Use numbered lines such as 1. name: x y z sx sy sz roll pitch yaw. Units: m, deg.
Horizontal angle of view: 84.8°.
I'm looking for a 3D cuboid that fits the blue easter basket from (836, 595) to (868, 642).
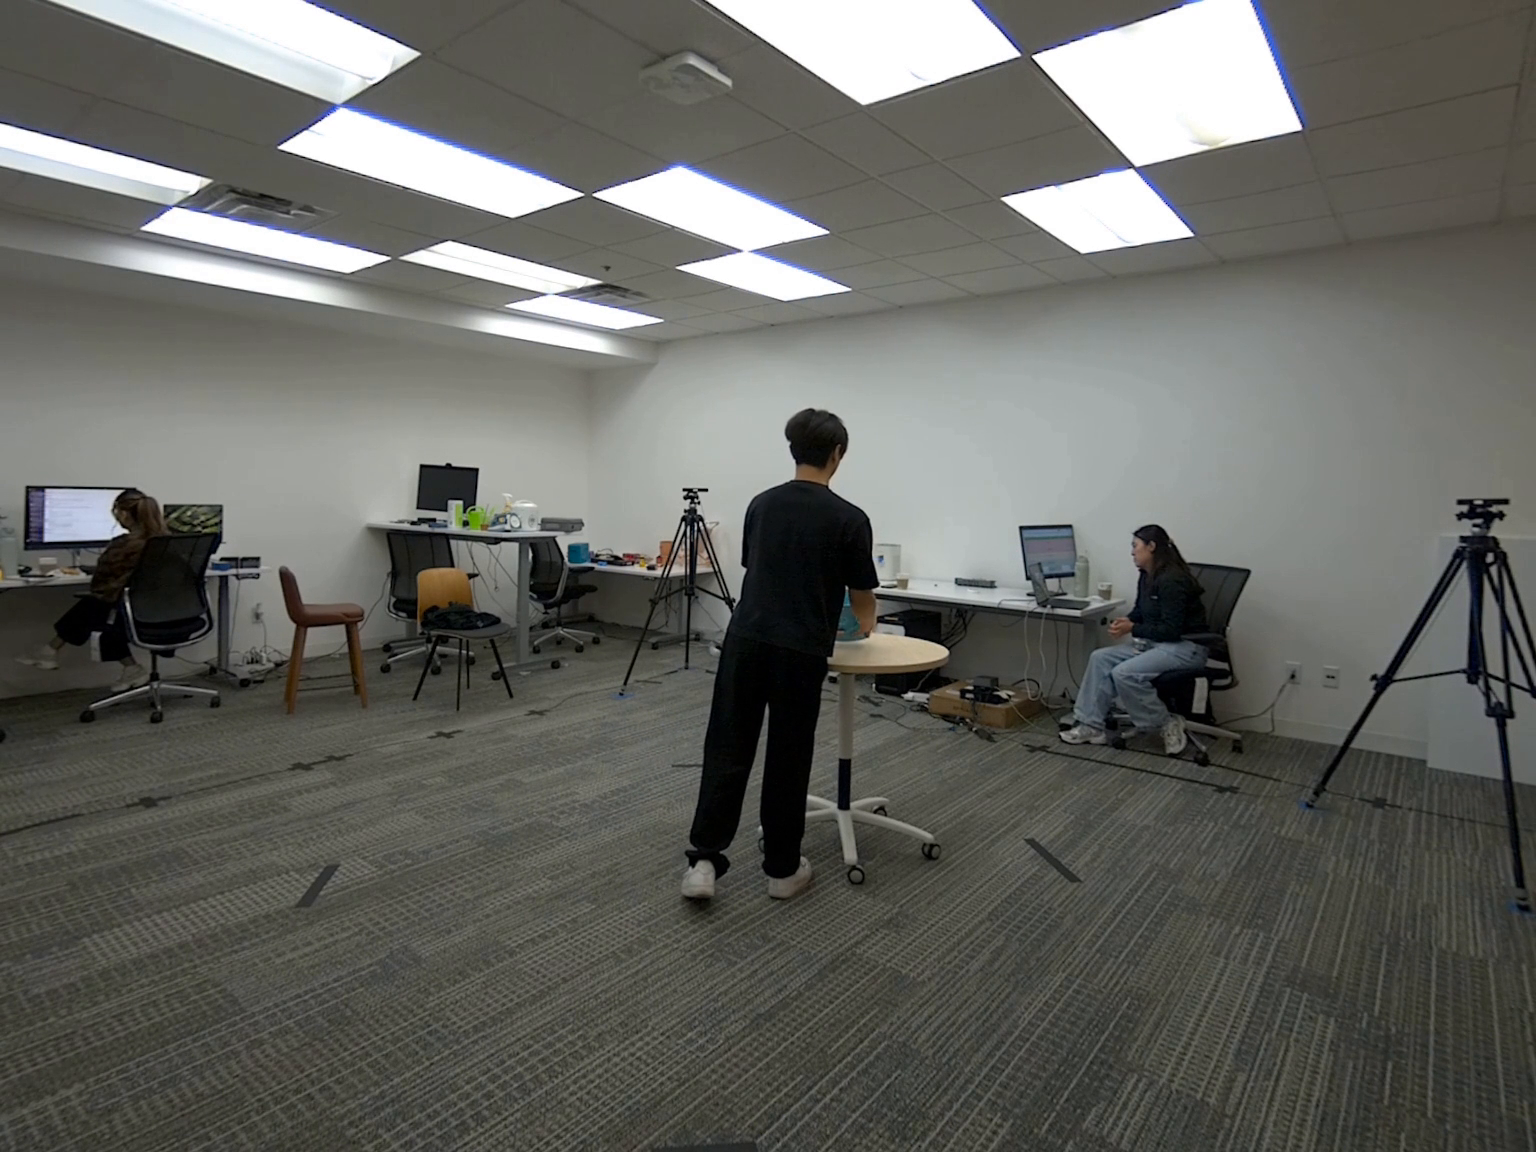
1. blue easter basket: 0.299 0.159 3.352 0.243 0.154 0.246 -3 10 -1
